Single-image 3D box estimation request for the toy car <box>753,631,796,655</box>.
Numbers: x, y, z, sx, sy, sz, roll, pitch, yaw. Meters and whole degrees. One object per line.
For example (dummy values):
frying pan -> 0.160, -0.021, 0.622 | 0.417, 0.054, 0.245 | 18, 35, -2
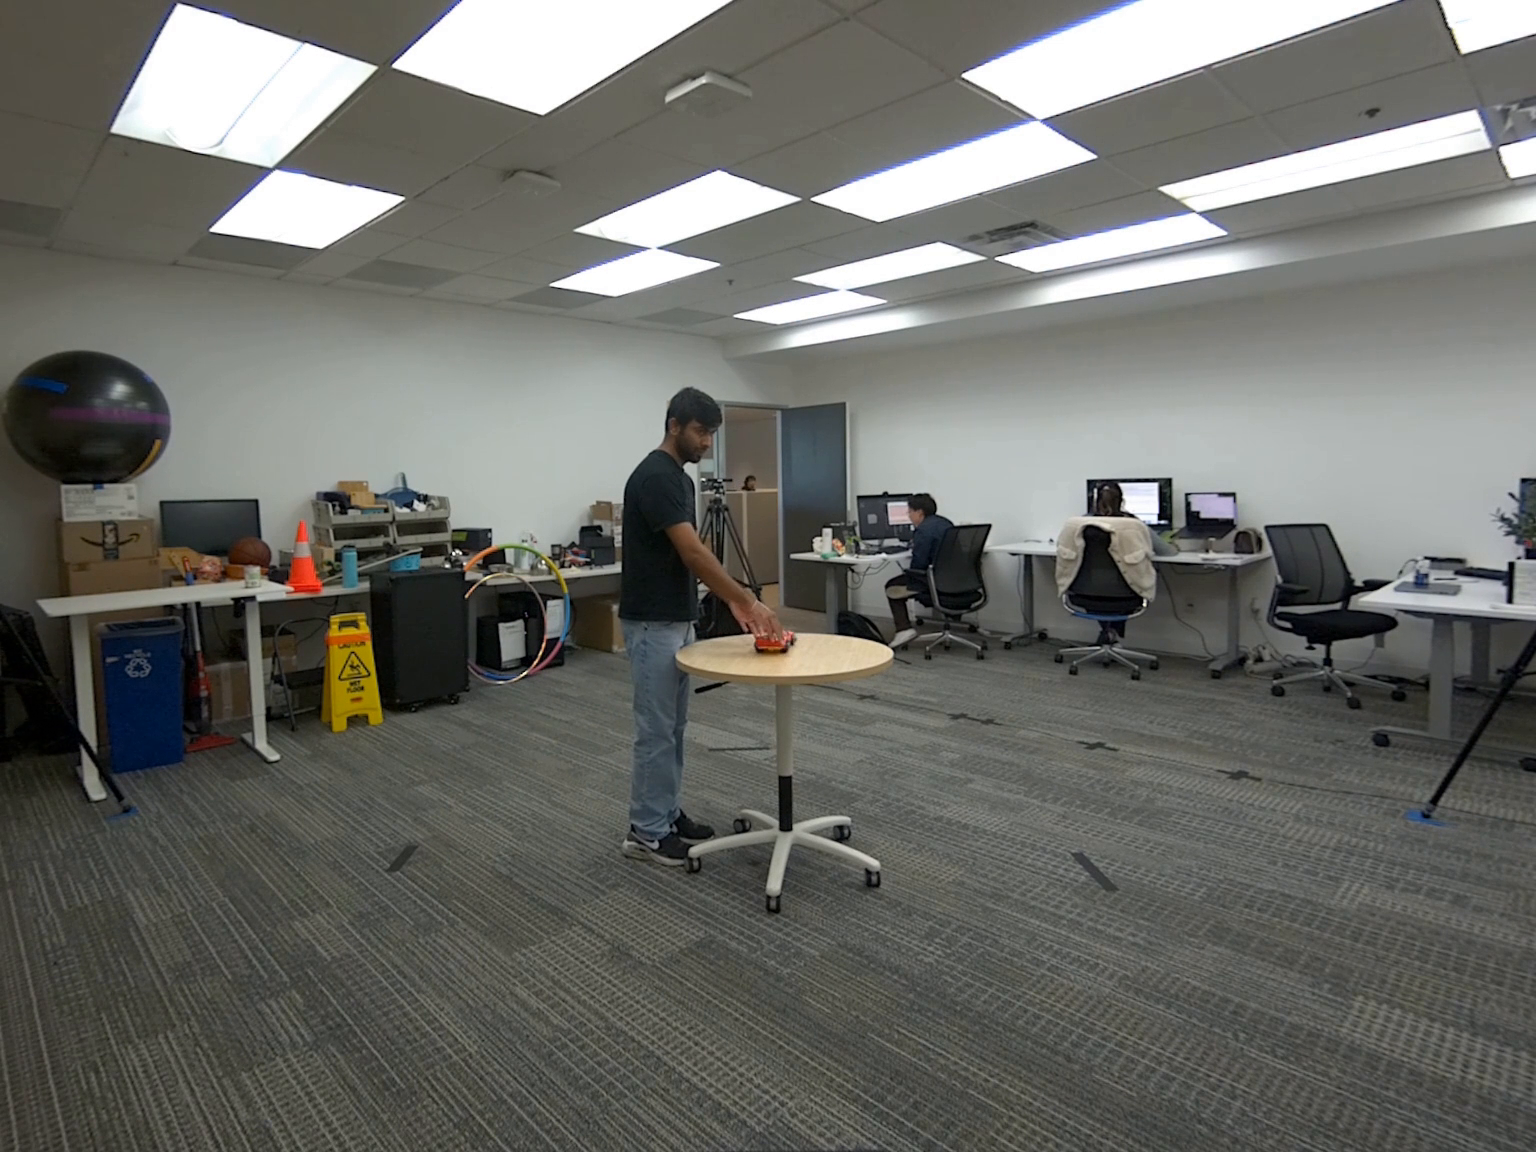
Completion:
toy car -> 0.021, 0.231, 3.067 | 0.132, 0.084, 0.250 | 0, -5, 11
